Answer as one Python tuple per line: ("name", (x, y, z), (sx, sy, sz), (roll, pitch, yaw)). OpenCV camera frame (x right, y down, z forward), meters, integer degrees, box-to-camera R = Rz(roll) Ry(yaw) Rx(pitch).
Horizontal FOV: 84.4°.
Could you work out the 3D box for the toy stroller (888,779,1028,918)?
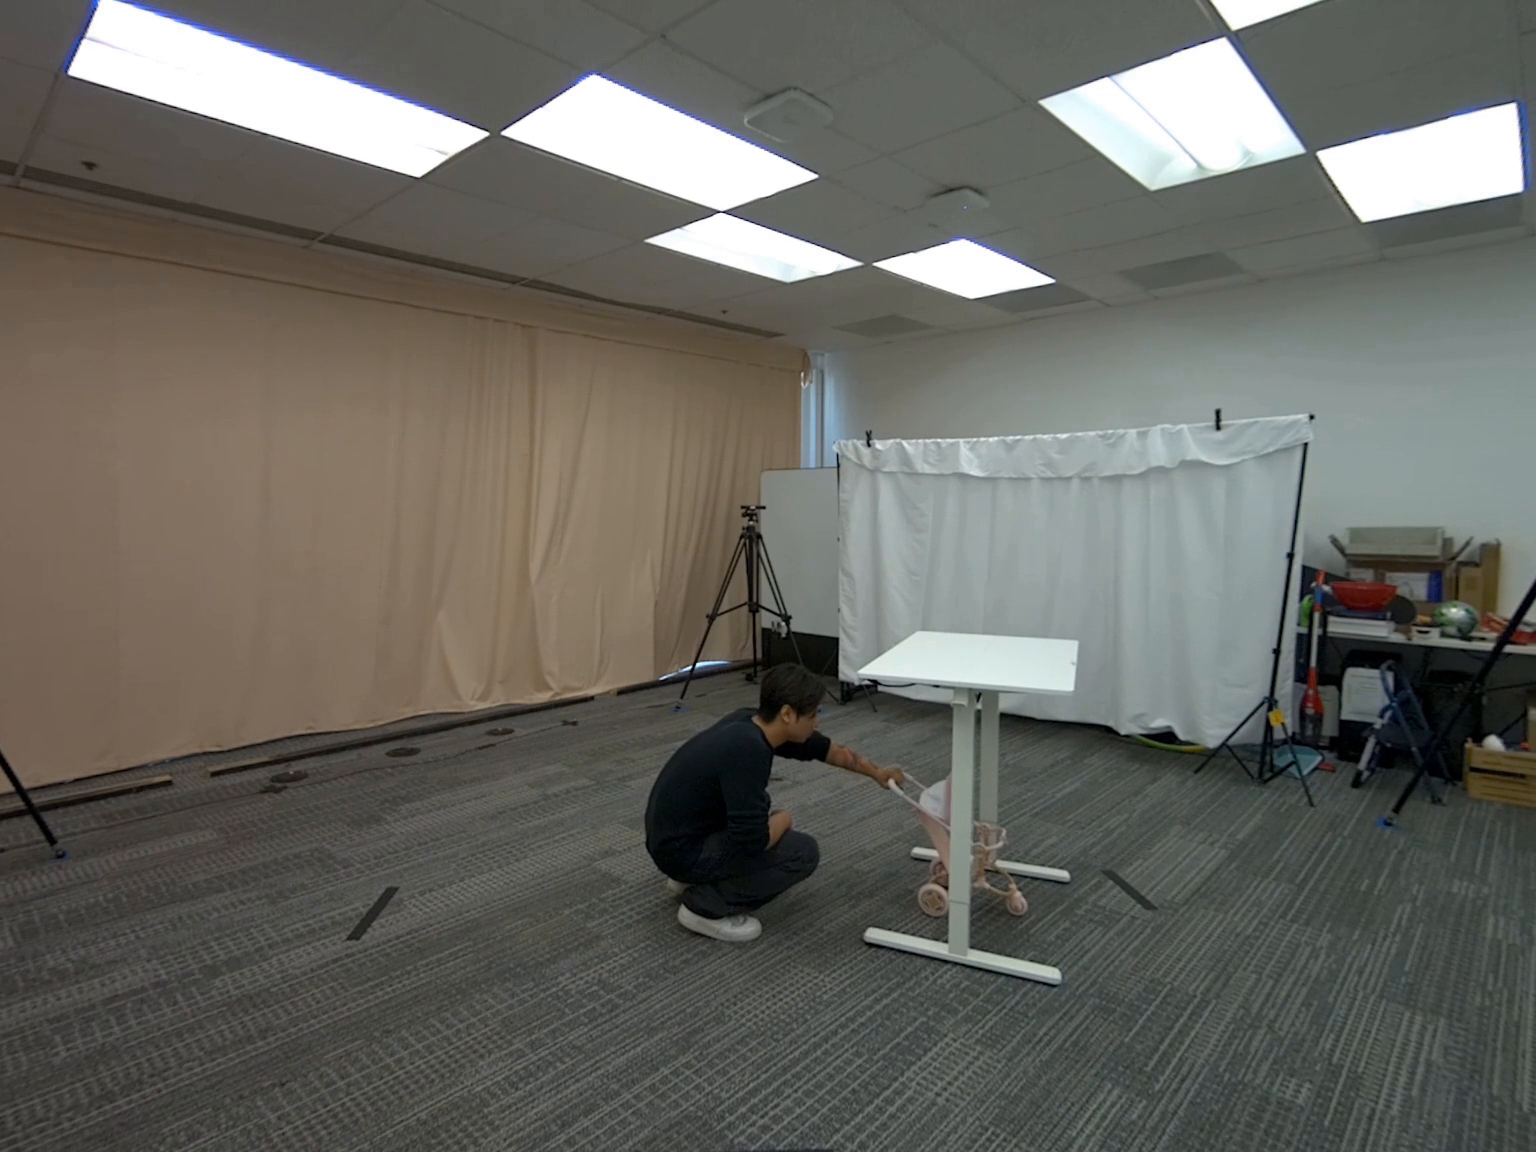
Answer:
("toy stroller", (0.665, 0.927, 2.922), (0.348, 0.537, 0.274), (-17, -5, 27))
